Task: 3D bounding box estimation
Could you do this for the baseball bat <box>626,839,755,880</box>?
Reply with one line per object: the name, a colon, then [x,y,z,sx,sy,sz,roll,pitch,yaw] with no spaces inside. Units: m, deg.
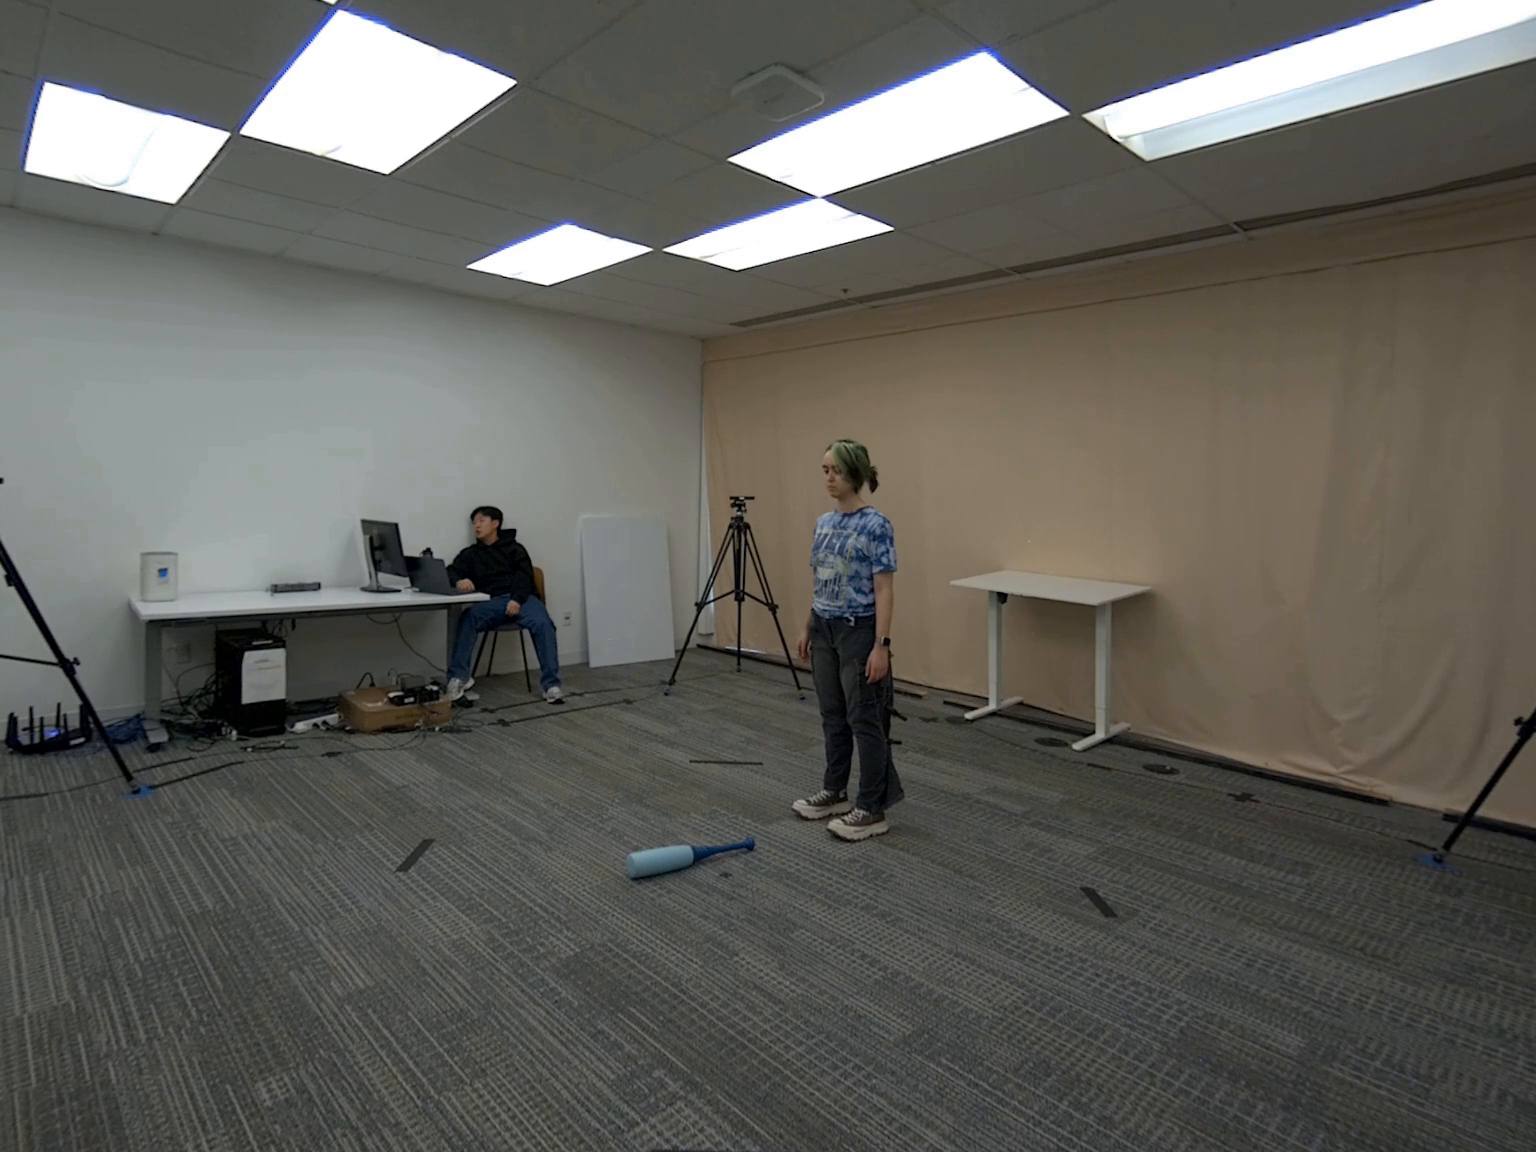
baseball bat: [-0.287,1.059,3.189,0.531,0.089,0.091,1,4,-33]
